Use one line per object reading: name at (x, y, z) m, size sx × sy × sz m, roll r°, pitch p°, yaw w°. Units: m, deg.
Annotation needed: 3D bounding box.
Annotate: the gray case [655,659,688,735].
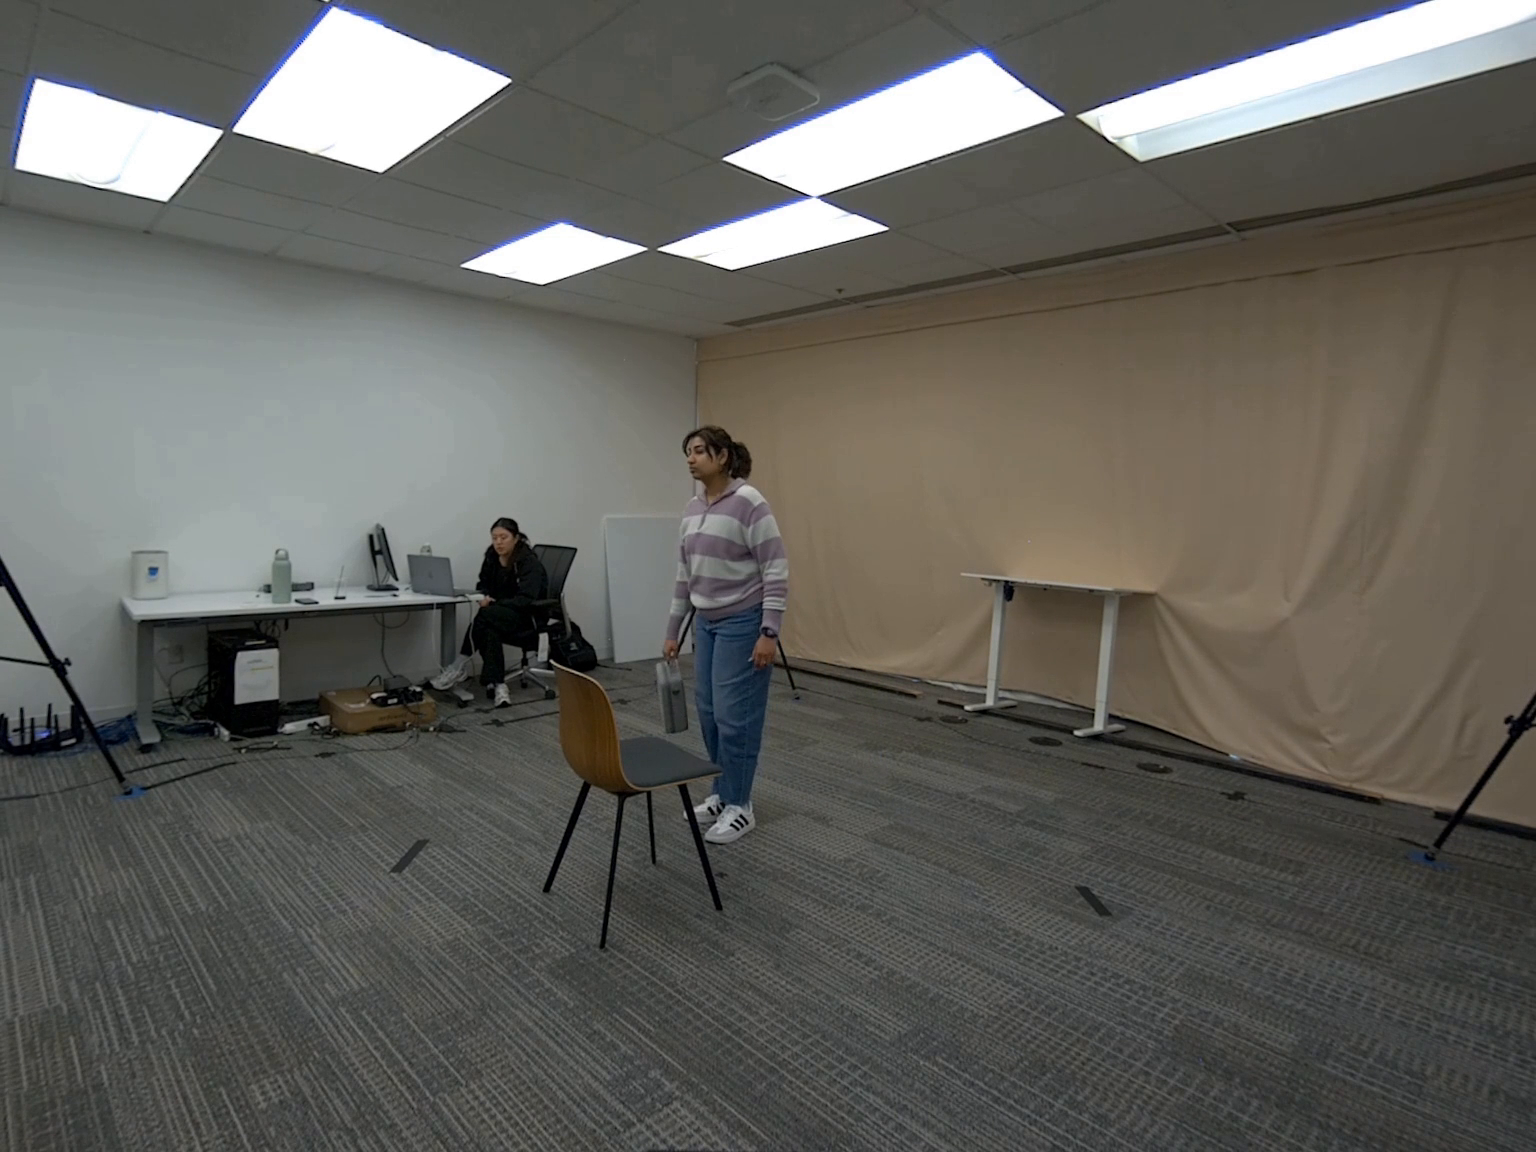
gray case at (-0.429, 0.526, 3.693) m, size 0.104 × 0.257 × 0.261 m, roll -7°, pitch 16°, yaw -9°
